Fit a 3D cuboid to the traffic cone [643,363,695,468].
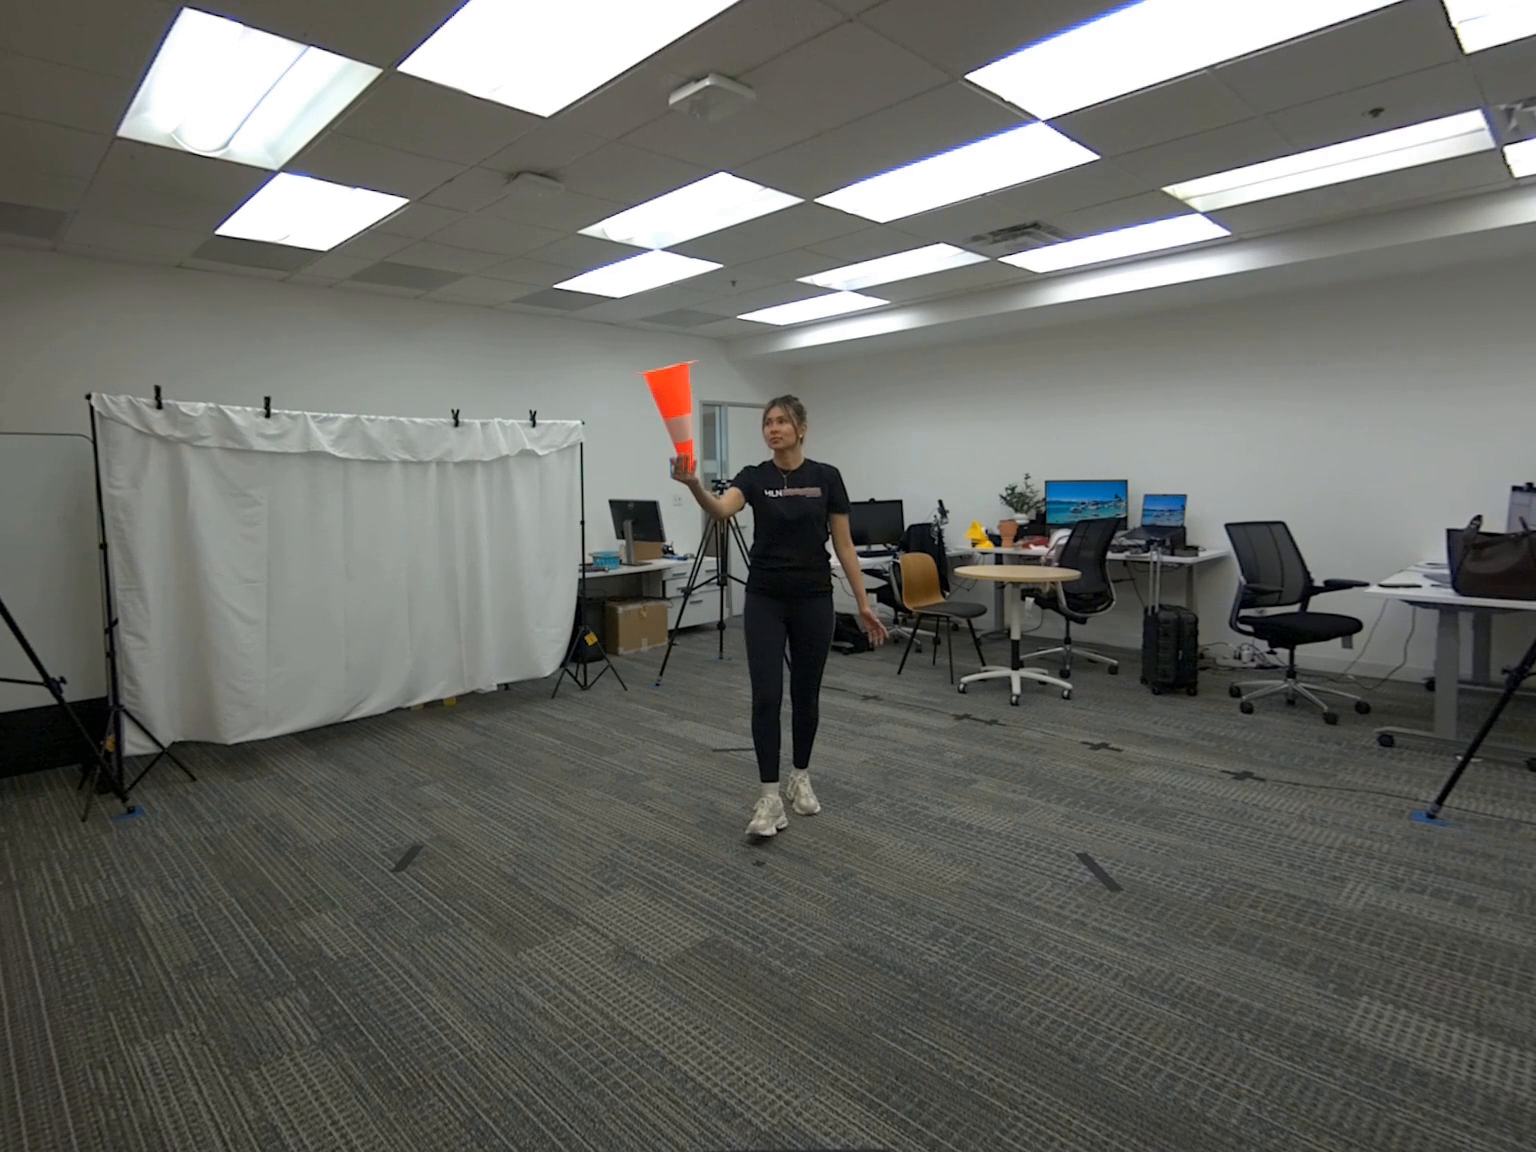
[{"bbox_3d":[-0.316,-0.534,2.959,0.206,0.380,0.204,-9,10,15],"label":"traffic cone"}]
